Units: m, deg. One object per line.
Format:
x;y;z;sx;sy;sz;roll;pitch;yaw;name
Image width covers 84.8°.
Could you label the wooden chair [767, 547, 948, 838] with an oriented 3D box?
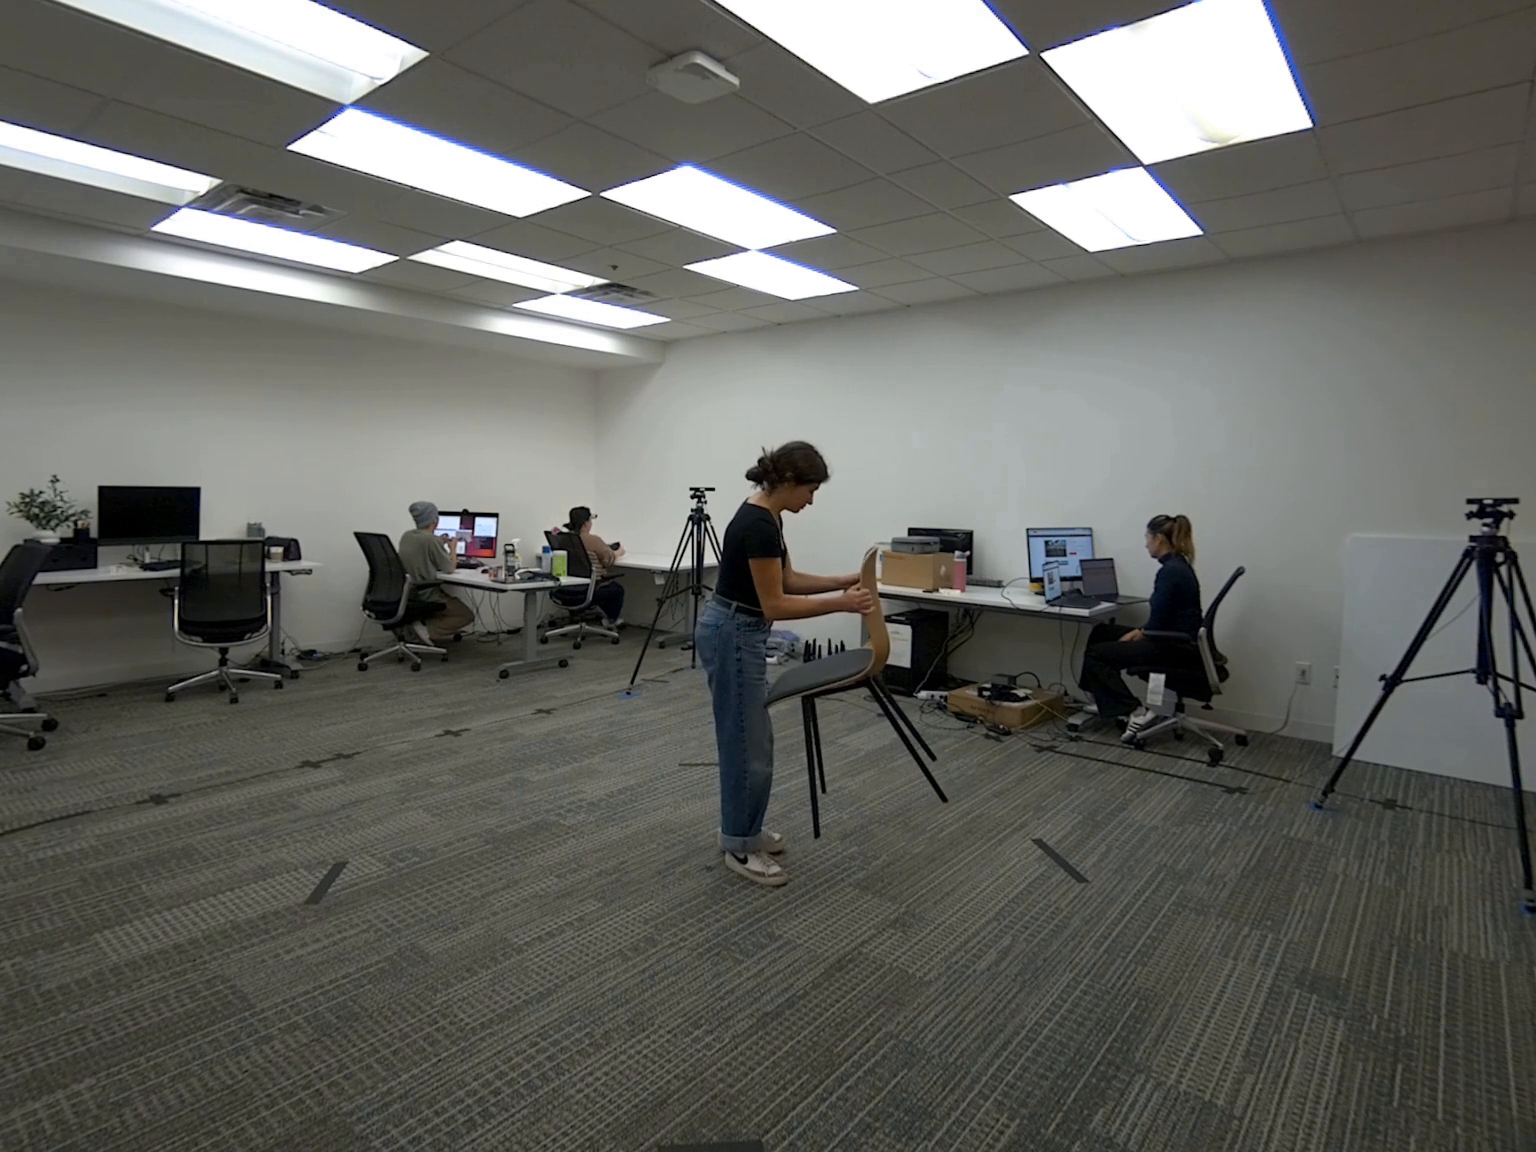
0.241;0.383;3.012;0.527;0.877;0.474;-15;1;9;wooden chair
